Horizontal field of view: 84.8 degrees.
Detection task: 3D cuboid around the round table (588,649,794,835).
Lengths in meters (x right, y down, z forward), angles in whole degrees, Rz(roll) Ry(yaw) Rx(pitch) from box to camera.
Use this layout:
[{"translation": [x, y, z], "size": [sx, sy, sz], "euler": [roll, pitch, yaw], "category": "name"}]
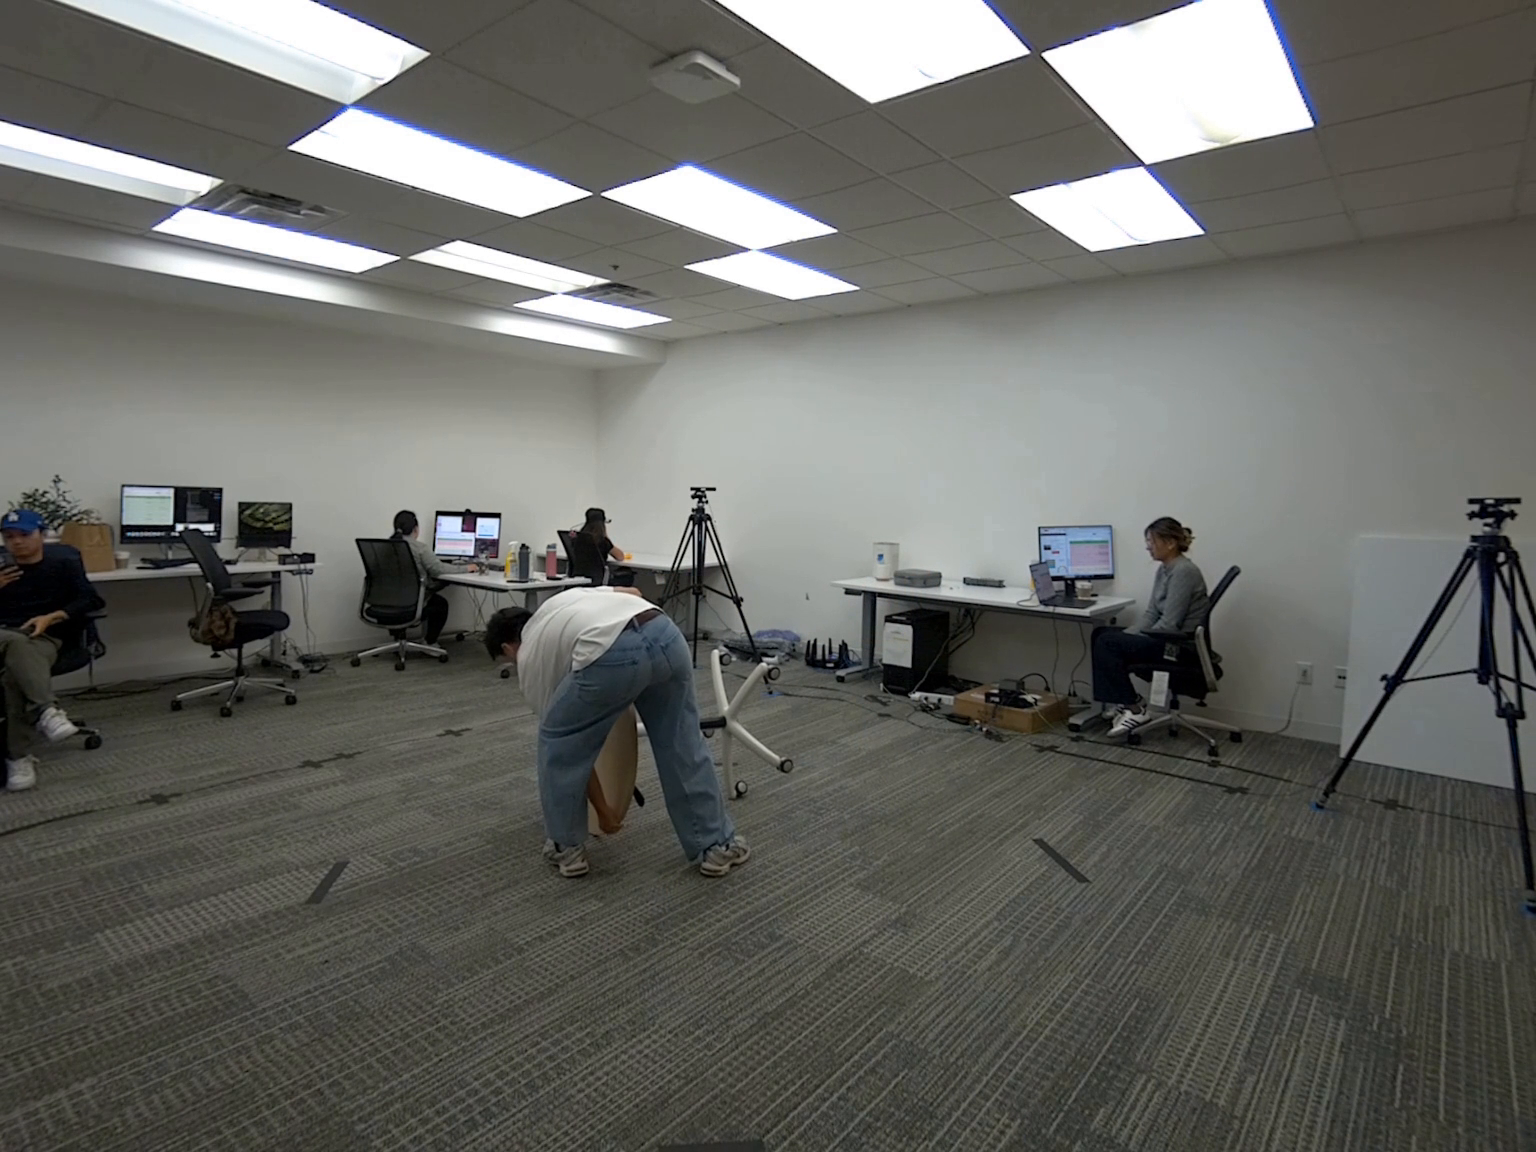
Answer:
[{"translation": [-0.416, 0.647, 3.652], "size": [0.770, 0.763, 0.789], "euler": [2, 3, -35], "category": "round table"}]
